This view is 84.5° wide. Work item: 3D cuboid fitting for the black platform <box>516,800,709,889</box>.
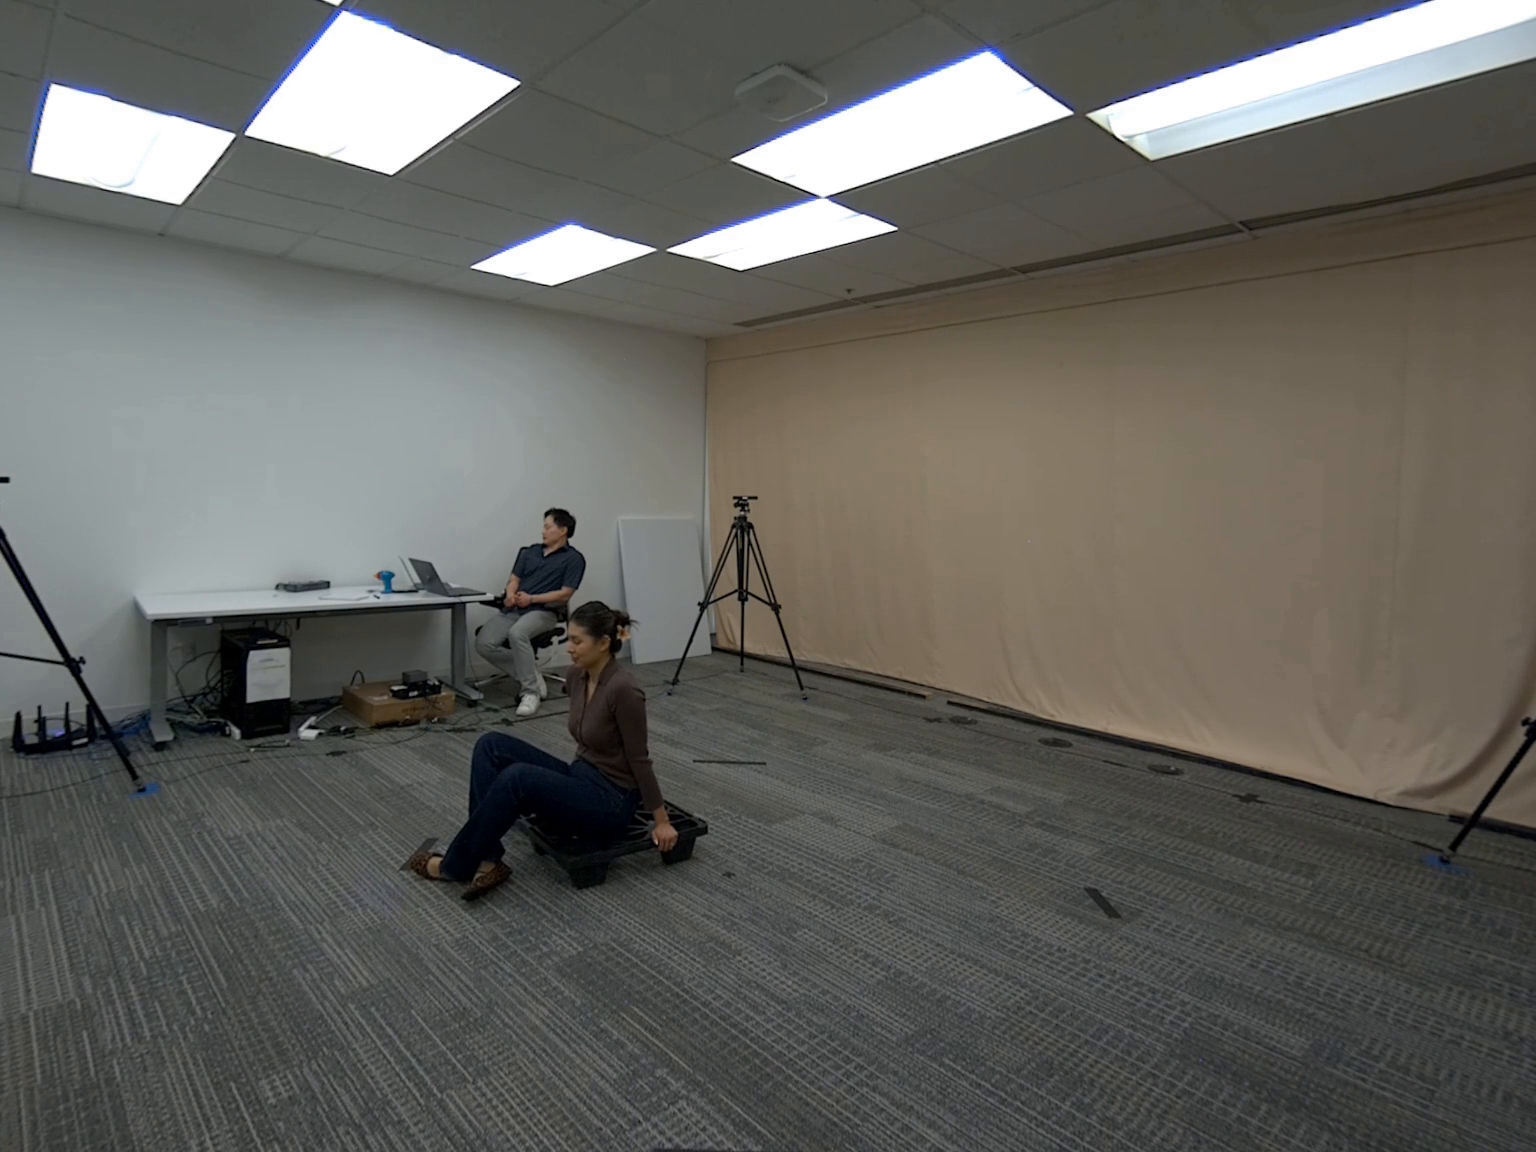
[{"bbox_3d":[-0.709,1.001,3.388,0.592,0.143,0.826,-3,7,-36],"label":"black platform"}]
